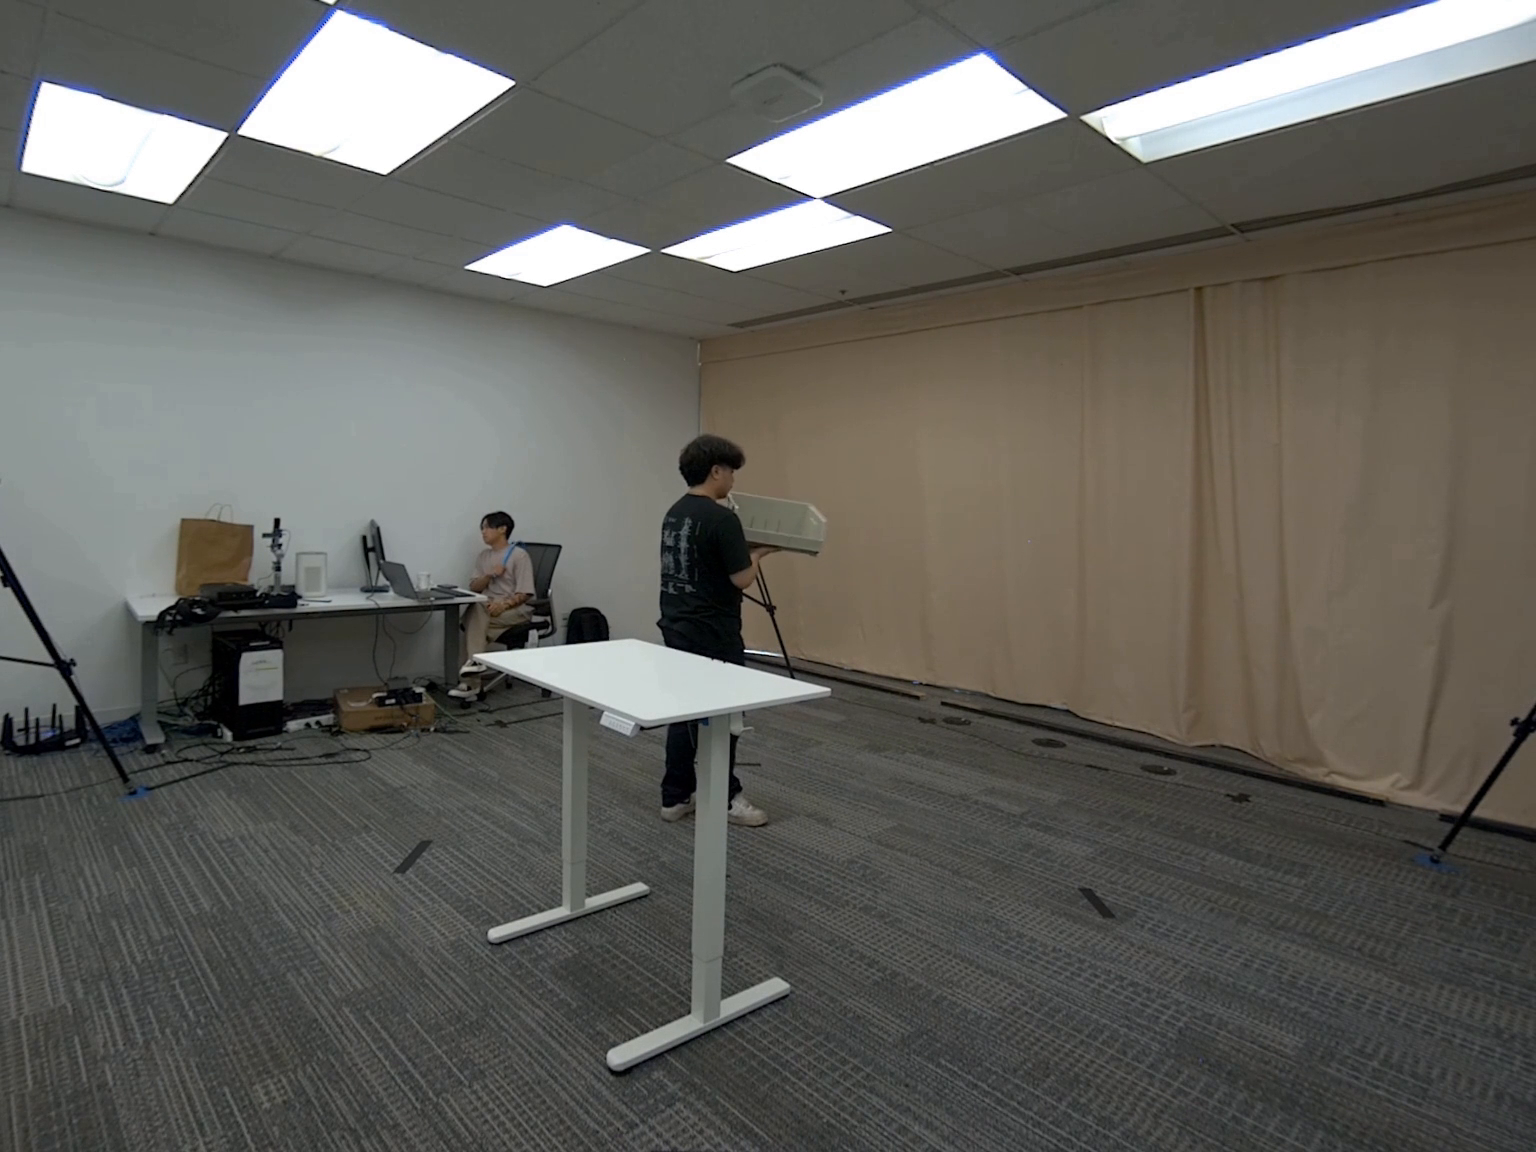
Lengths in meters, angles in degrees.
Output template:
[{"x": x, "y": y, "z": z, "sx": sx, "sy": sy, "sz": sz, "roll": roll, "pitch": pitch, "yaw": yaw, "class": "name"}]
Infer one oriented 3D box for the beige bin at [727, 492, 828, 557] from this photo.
[{"x": 0.010, "y": -0.242, "z": 3.893, "sx": 0.418, "sy": 0.187, "sz": 0.384, "roll": 6, "pitch": 13, "yaw": -11, "class": "beige bin"}]
